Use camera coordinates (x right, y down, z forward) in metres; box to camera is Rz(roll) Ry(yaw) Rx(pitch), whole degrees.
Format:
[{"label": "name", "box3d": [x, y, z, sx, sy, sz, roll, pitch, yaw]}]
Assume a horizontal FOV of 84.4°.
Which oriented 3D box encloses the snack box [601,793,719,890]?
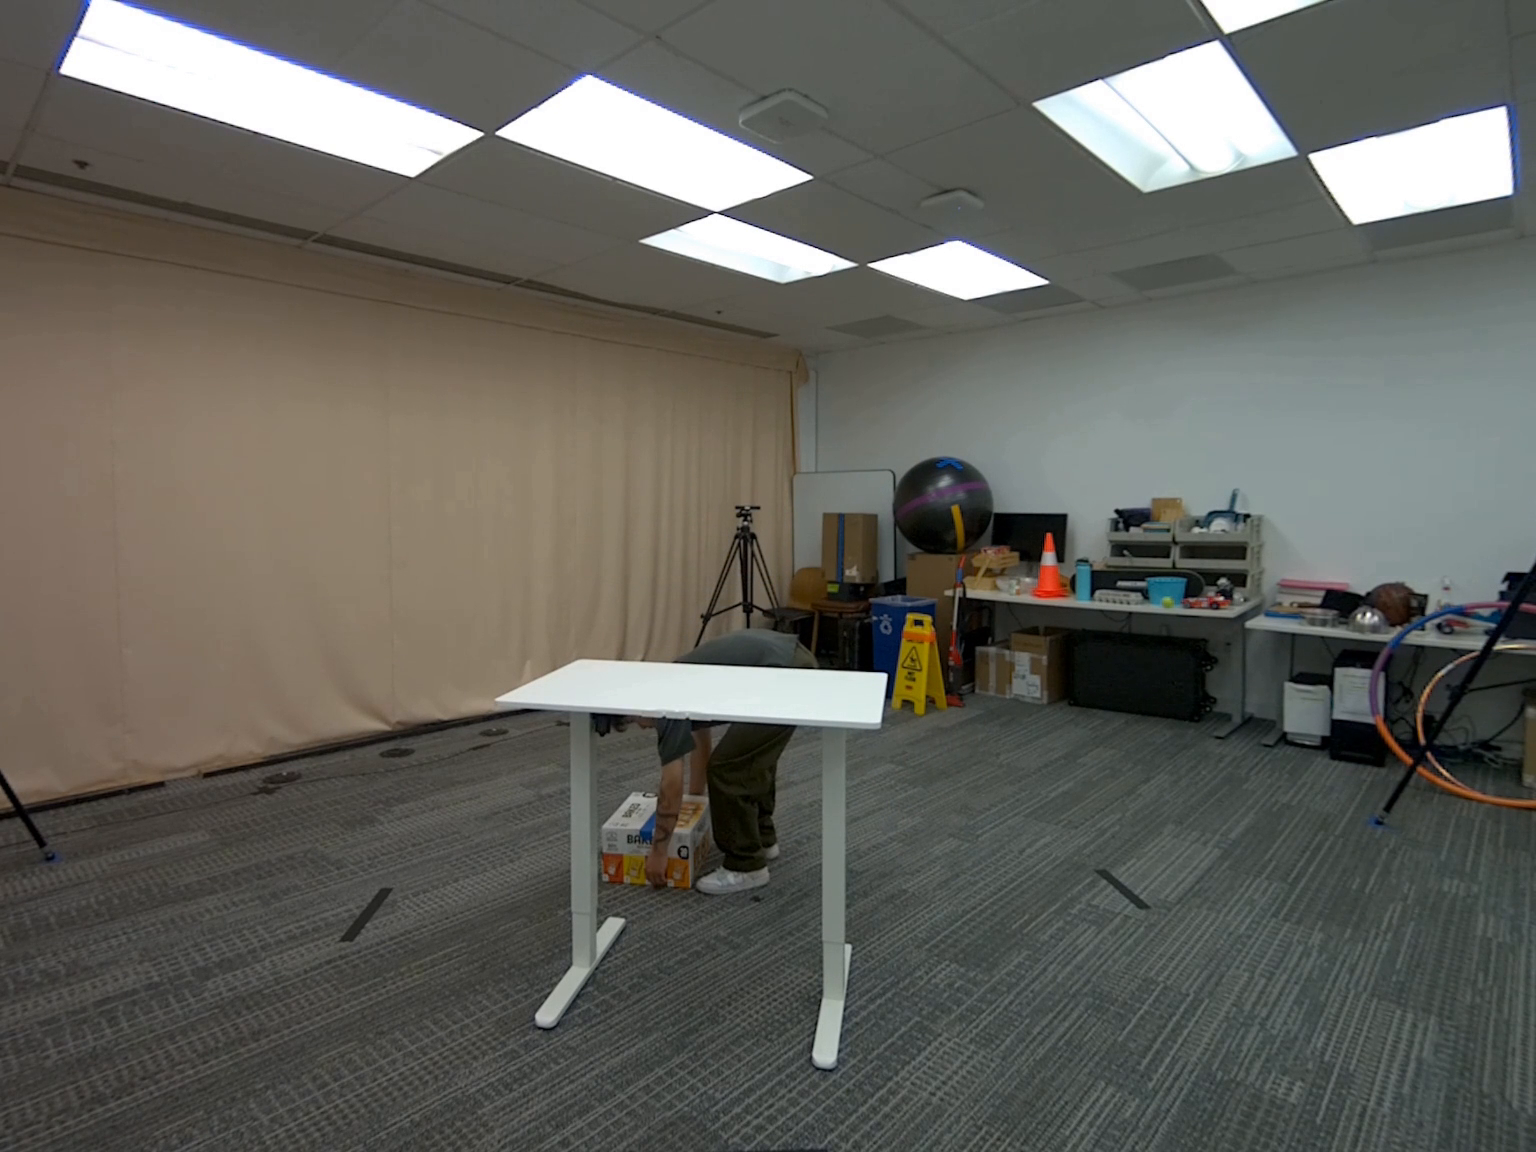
[{"label": "snack box", "box3d": [-0.422, 1.022, 3.287, 0.345, 0.205, 0.401, 1, 4, 10]}]
